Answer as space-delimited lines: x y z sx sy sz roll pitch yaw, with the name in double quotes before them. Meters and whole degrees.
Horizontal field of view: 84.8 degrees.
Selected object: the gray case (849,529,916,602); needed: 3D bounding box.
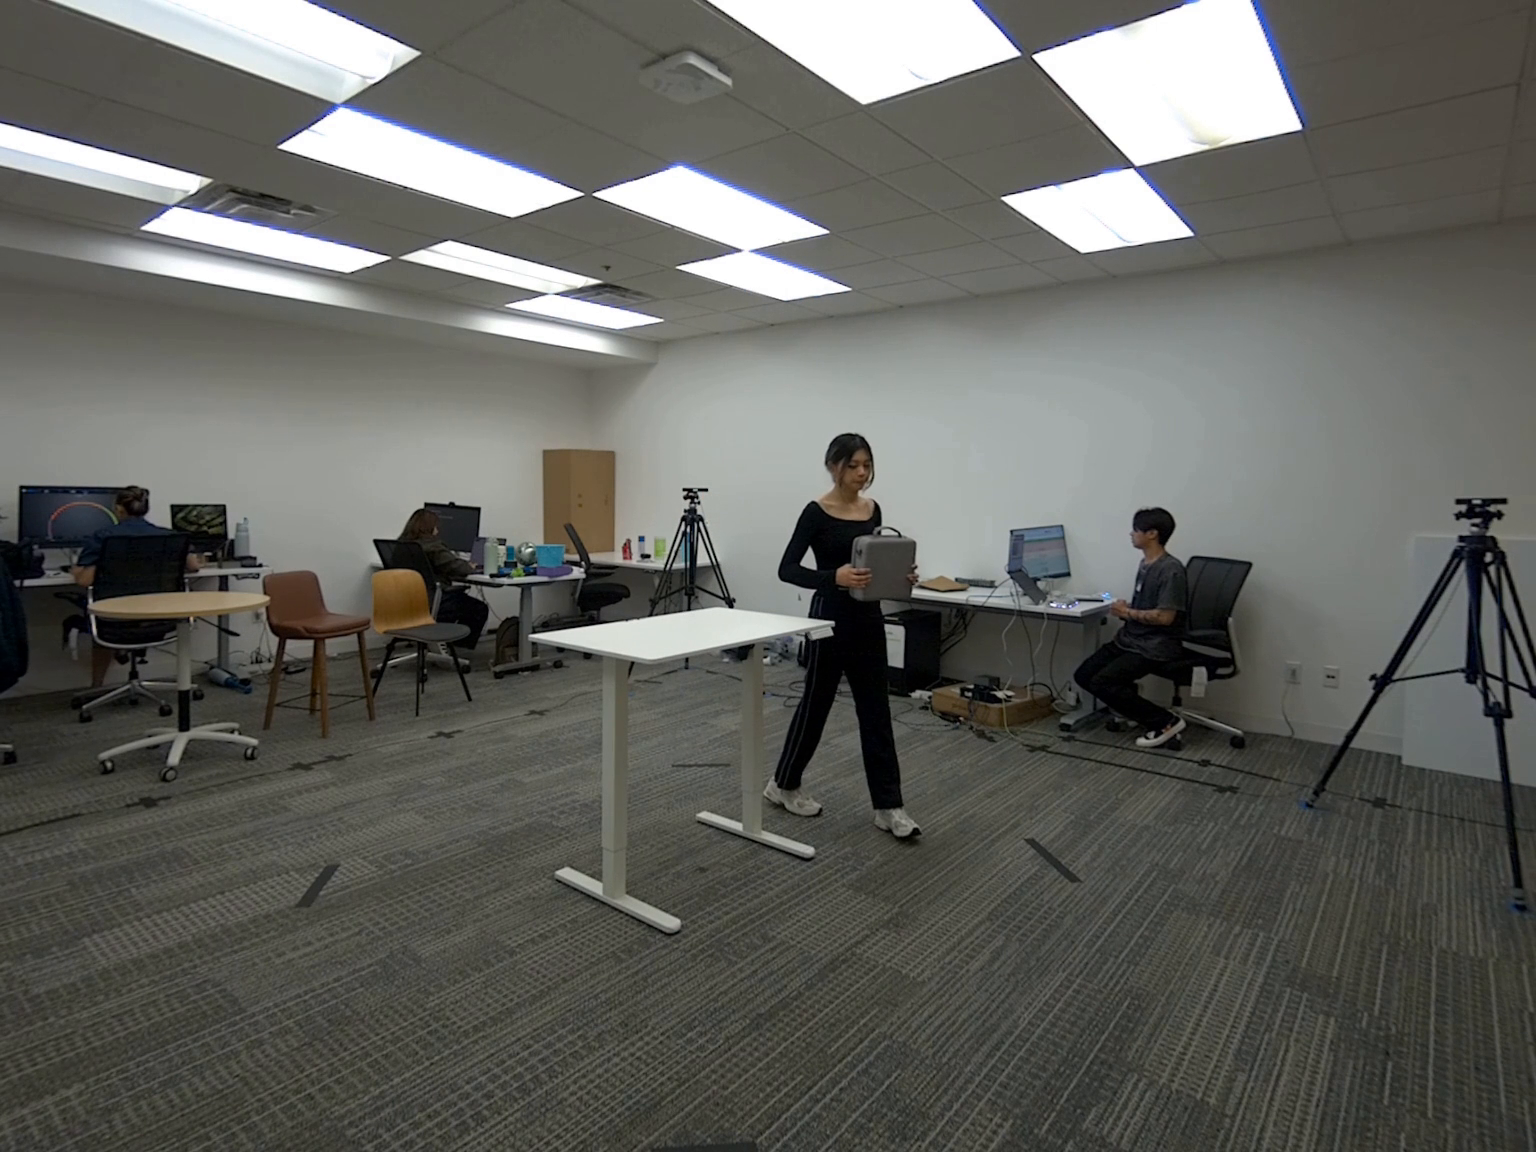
"gray case" 0.455 -0.041 3.383 0.251 0.258 0.108 -2 12 -23
